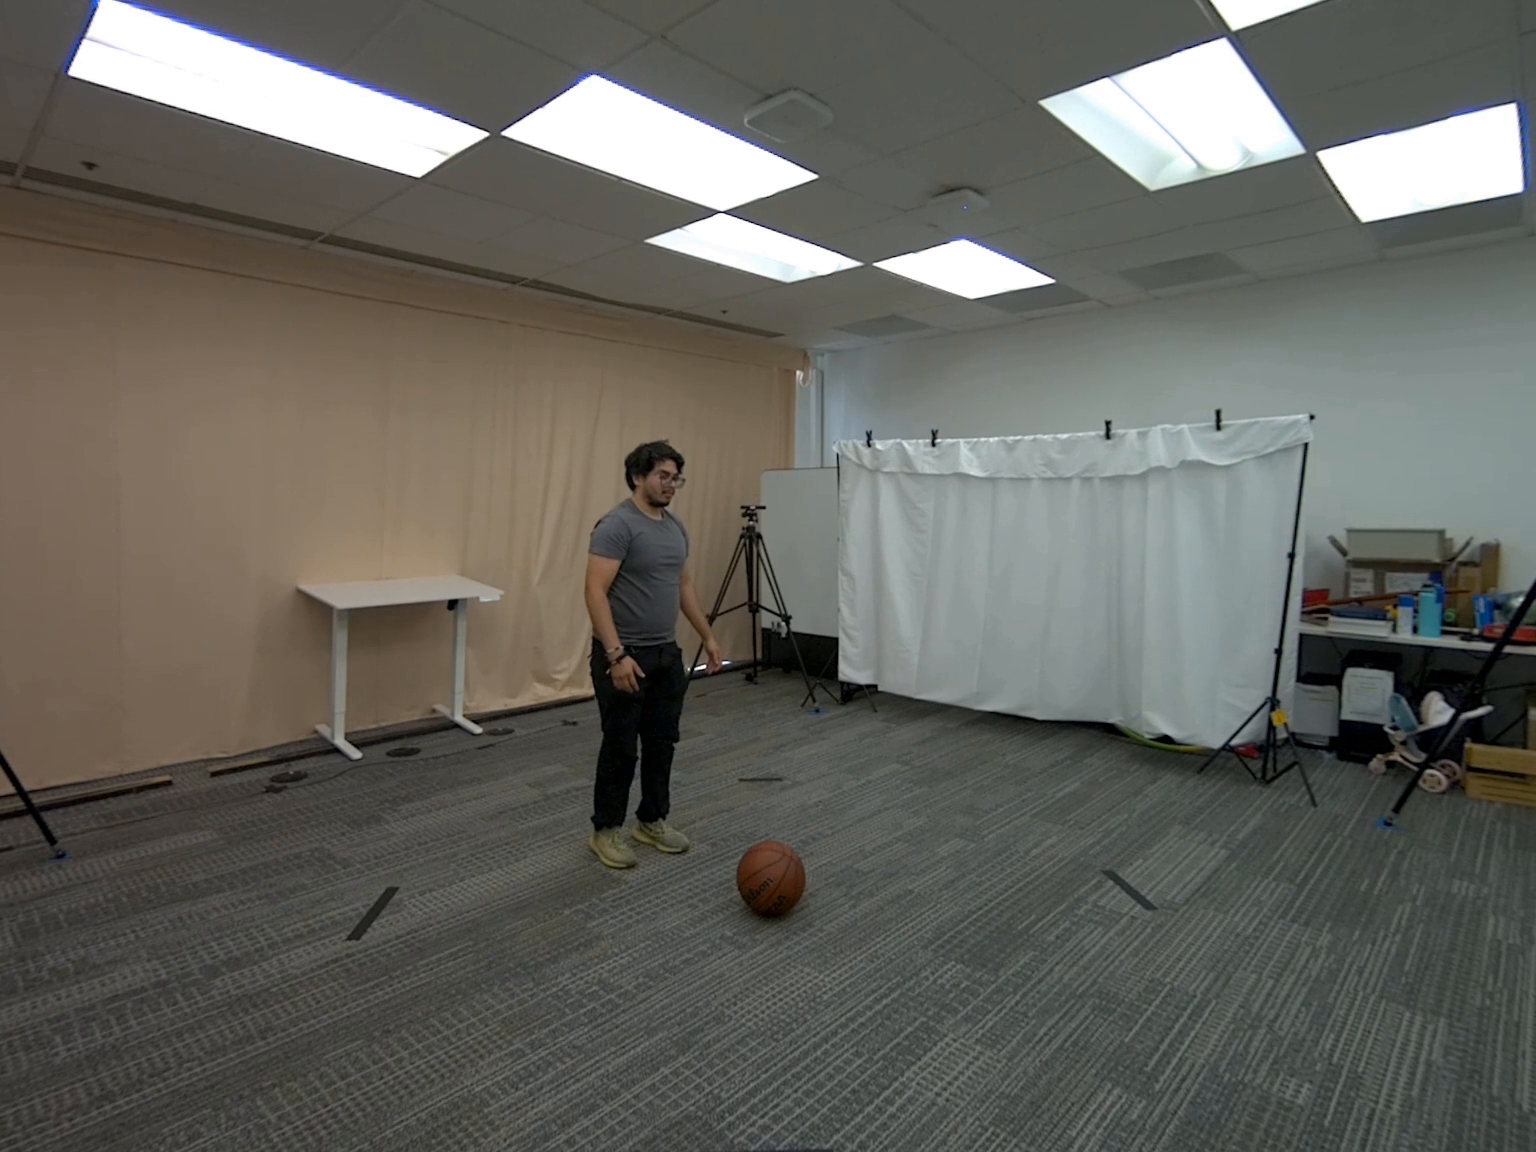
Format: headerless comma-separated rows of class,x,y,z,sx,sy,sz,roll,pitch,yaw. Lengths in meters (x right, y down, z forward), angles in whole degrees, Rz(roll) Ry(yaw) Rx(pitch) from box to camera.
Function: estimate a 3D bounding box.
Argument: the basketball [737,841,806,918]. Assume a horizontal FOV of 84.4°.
basketball,0.008,1.033,2.883,0.236,0.235,0.237,0,4,-2
